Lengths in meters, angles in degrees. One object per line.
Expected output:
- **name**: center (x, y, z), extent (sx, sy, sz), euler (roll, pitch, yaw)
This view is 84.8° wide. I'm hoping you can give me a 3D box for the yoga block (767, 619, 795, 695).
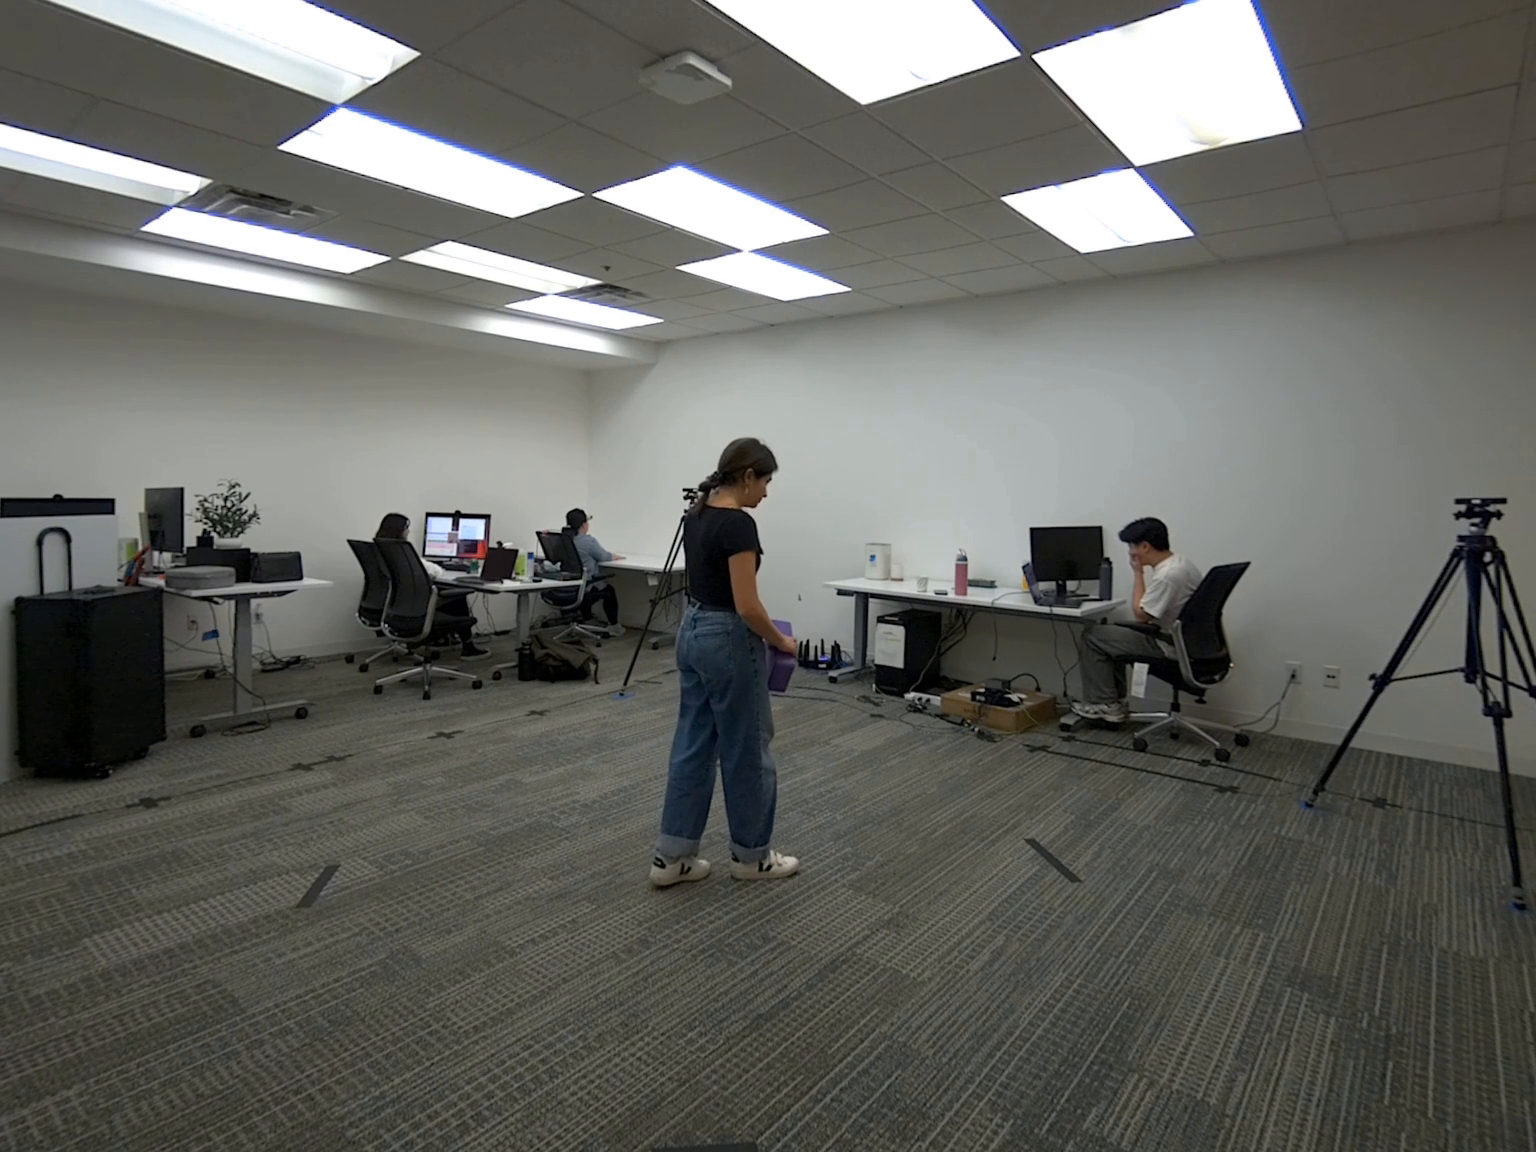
- **yoga block**: center (0.039, 0.283, 3.080), extent (0.076, 0.146, 0.236), euler (6, 40, -8)
